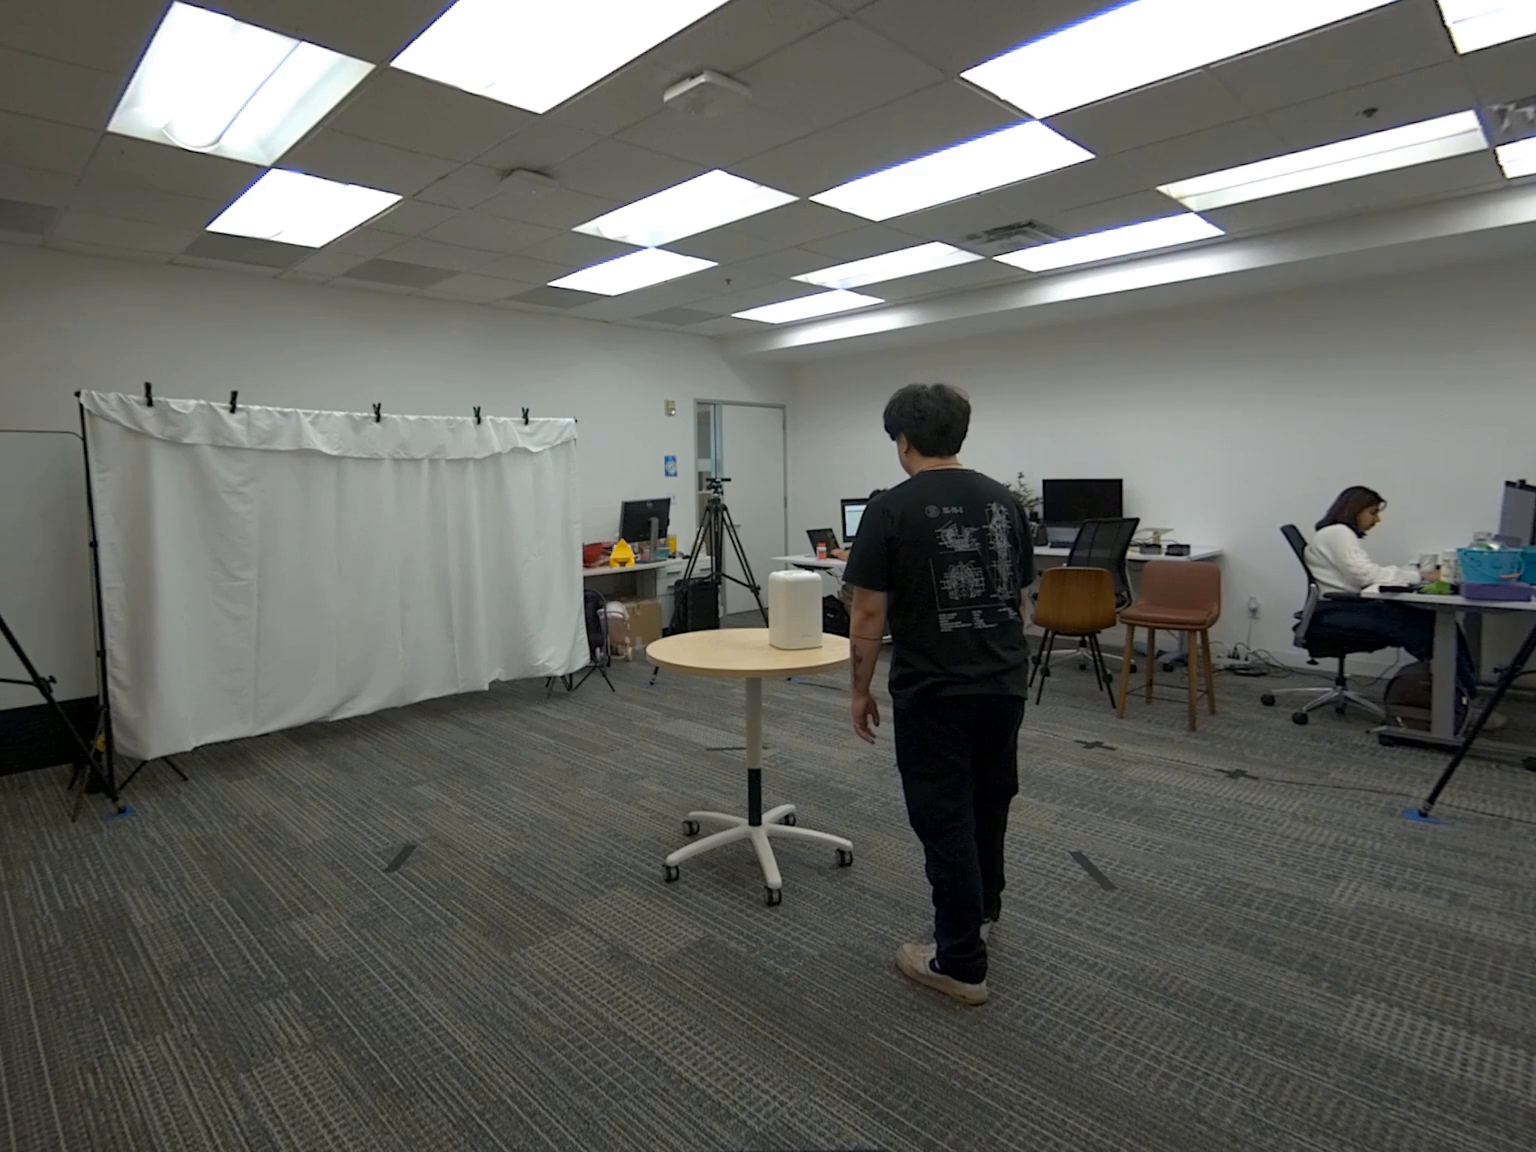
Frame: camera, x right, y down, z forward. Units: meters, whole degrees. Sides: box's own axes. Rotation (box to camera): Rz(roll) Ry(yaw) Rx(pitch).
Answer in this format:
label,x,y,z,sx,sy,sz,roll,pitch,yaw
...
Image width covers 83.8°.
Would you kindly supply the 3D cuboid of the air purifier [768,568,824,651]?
label,x,y,z,sx,sy,sz,roll,pitch,yaw
air purifier,0.104,0.118,3.073,0.168,0.265,0.175,-1,3,-21
